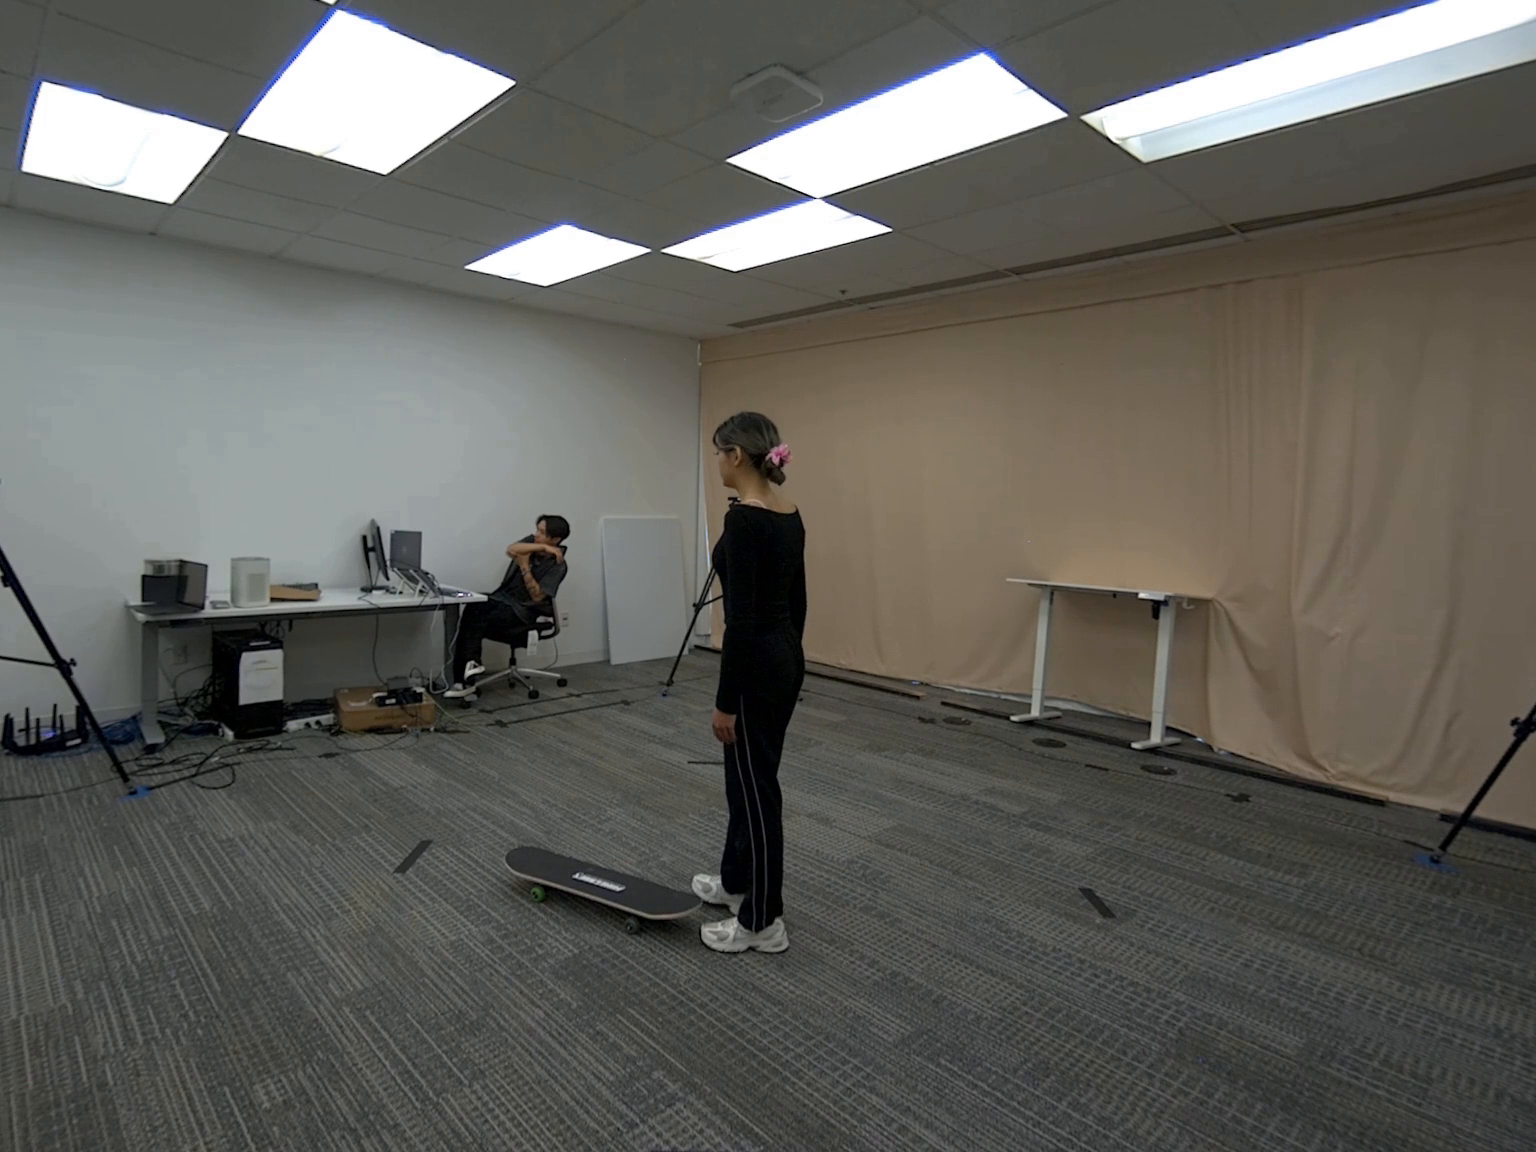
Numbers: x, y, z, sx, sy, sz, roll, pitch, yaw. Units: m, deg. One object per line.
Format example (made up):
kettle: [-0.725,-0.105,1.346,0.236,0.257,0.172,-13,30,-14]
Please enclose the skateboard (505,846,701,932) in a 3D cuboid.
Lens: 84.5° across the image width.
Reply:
skateboard: [-0.582,1.071,2.840,0.802,0.110,0.190,5,6,29]
